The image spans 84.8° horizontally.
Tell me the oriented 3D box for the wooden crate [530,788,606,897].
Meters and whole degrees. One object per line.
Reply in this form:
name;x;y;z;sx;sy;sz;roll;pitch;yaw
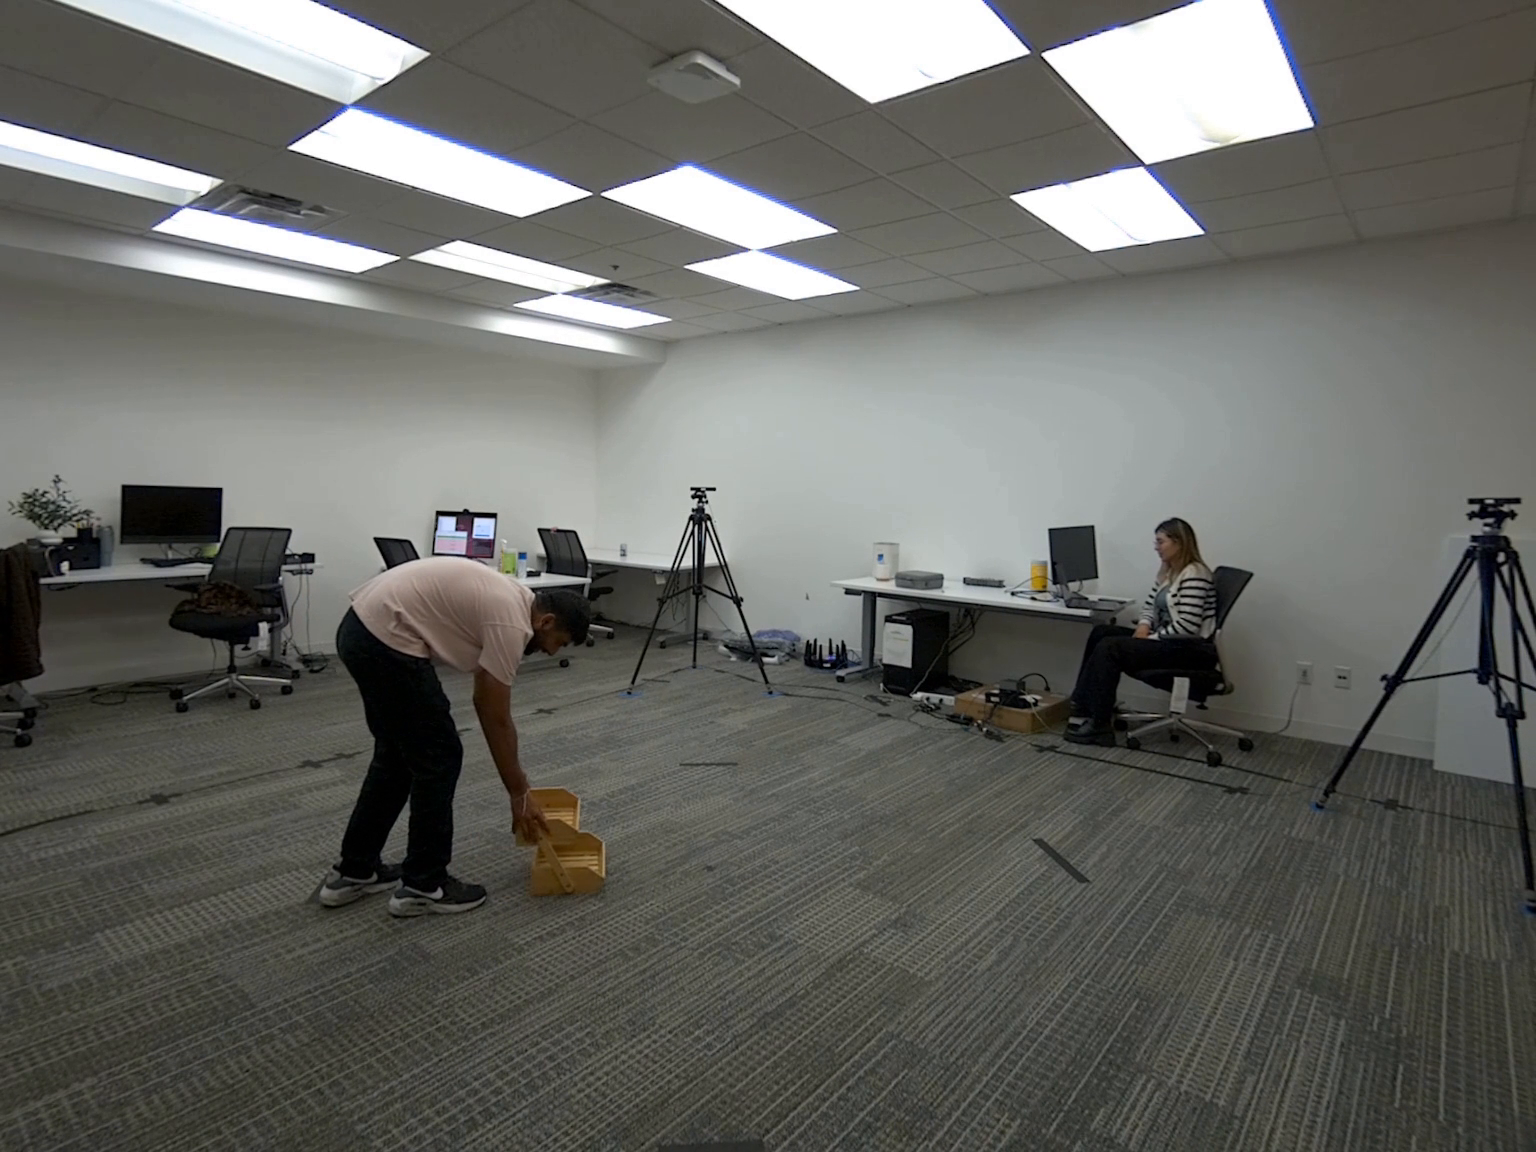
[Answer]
wooden crate;-0.739;0.936;3.035;0.299;0.272;0.329;2;4;-10
